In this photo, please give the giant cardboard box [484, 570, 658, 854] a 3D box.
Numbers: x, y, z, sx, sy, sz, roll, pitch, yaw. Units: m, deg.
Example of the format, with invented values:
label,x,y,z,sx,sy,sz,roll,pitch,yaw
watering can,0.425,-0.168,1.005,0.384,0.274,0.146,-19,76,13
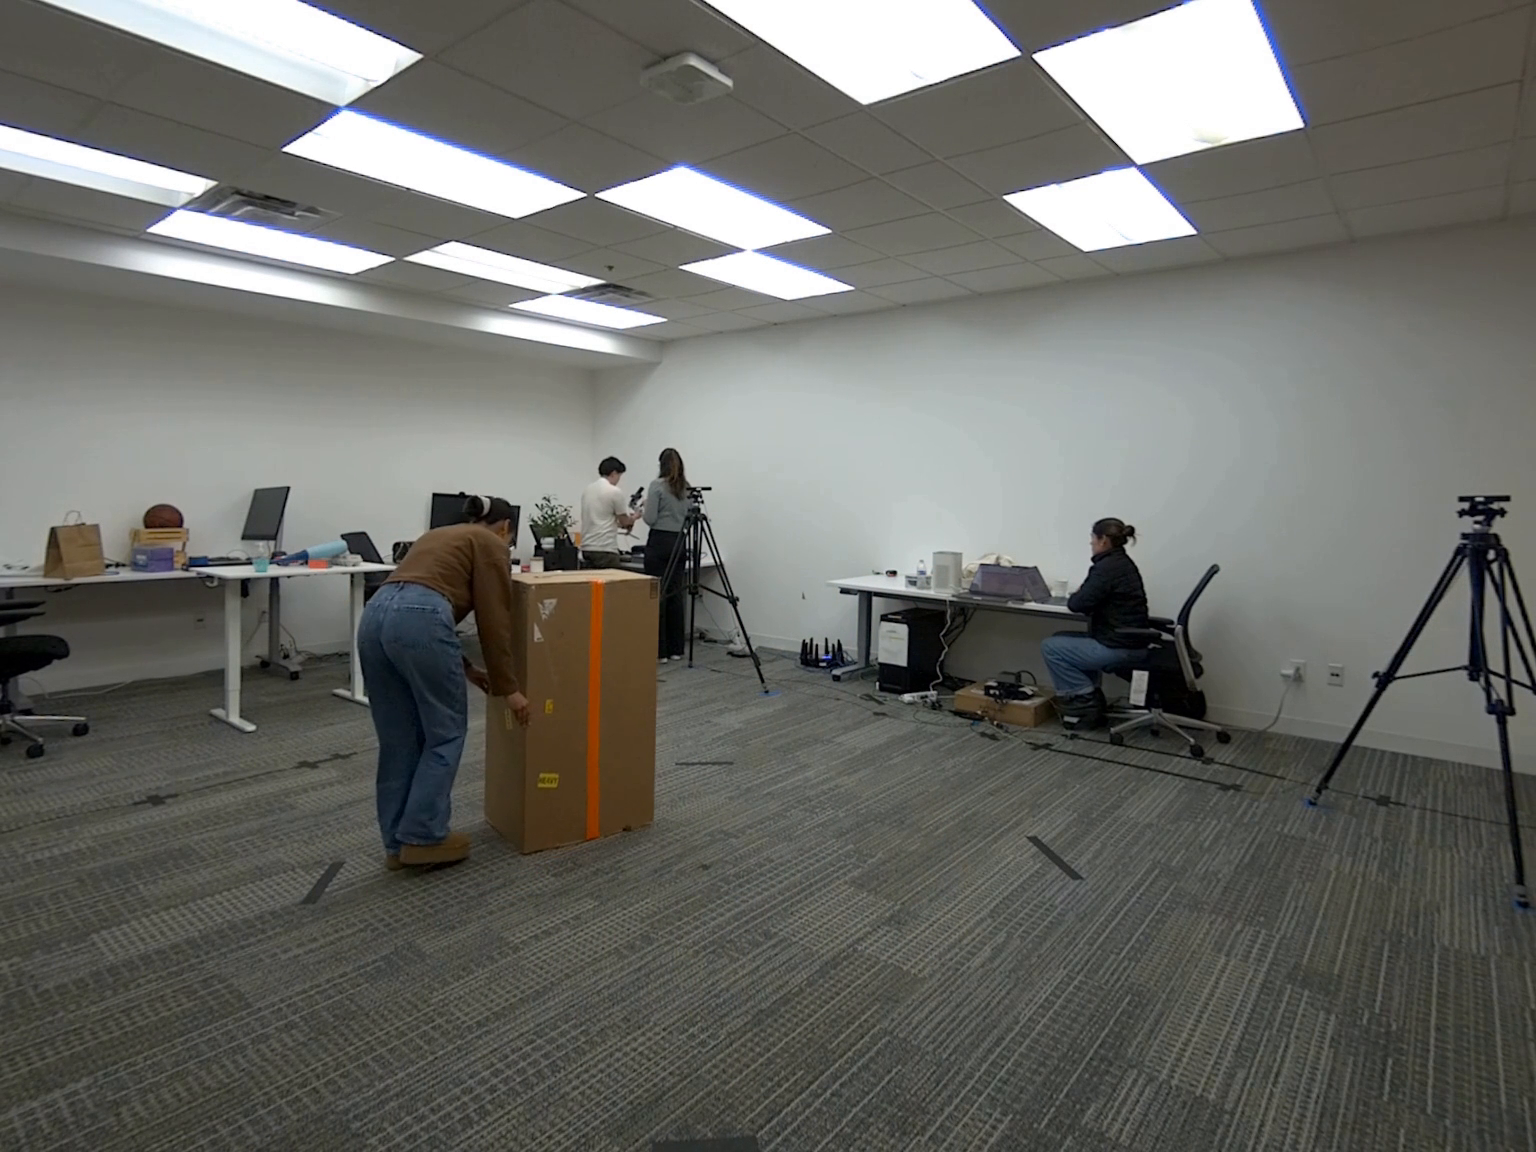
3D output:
label,x,y,z,sx,sy,sz,roll,pitch,yaw
giant cardboard box,-0.821,0.514,3.505,0.560,1.023,0.440,-1,4,-38
